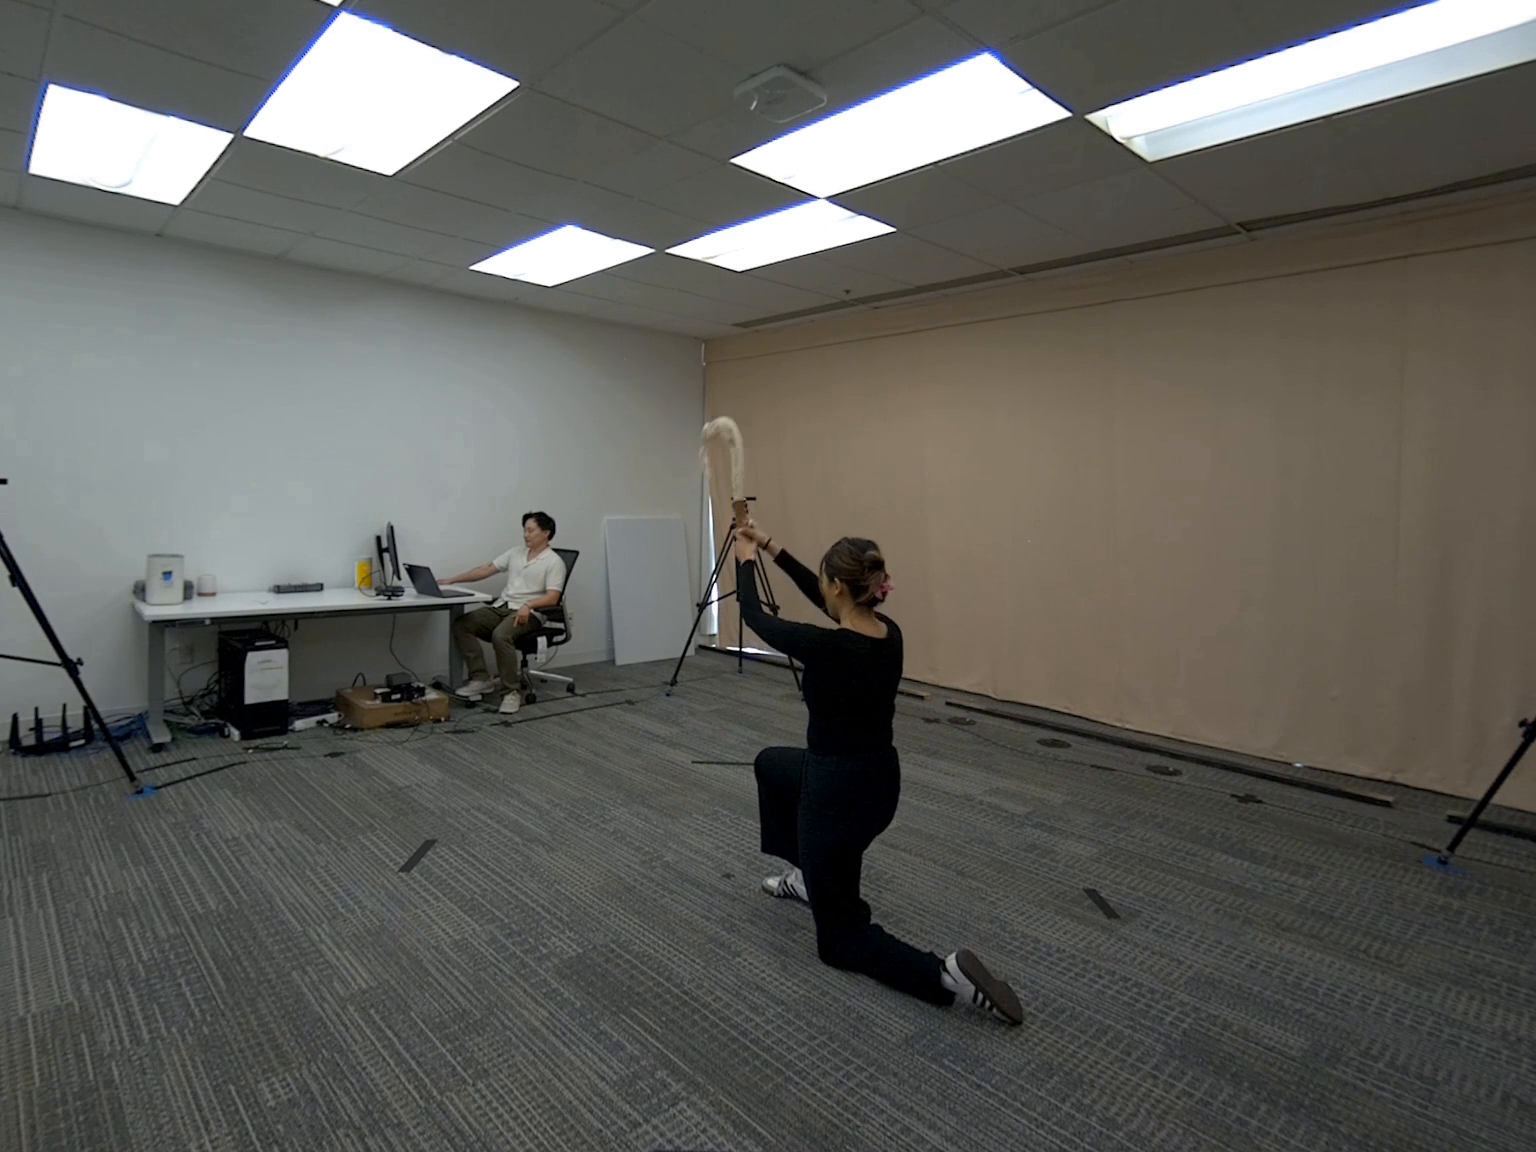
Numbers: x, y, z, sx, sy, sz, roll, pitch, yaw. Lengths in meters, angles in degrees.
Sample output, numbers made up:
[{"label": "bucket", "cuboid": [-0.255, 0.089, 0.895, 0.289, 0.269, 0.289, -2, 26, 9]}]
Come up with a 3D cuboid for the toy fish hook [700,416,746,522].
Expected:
[{"label": "toy fish hook", "cuboid": [-0.138, -0.270, 2.981, 0.047, 0.510, 0.228, -5, -10, -41]}]
